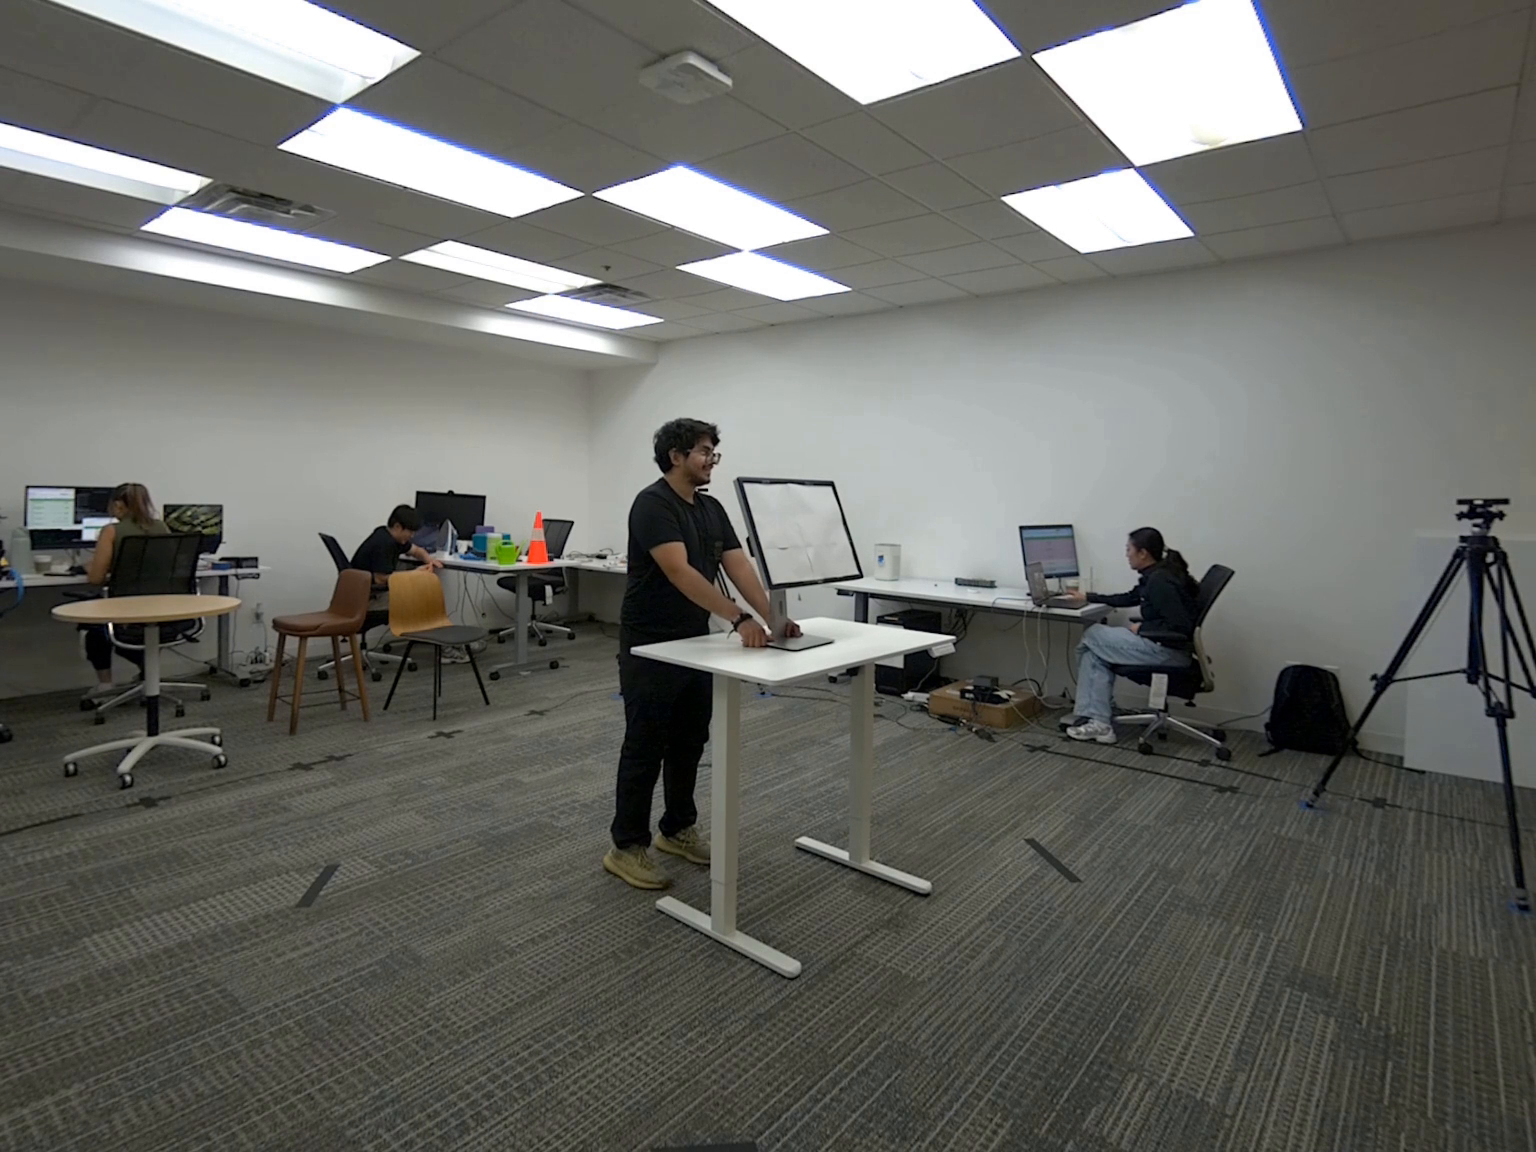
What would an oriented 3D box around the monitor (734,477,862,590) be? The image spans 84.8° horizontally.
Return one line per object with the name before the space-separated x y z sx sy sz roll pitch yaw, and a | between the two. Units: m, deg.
monitor | 0.057 -0.049 2.827 0.215 0.557 0.549 -12 -5 37
